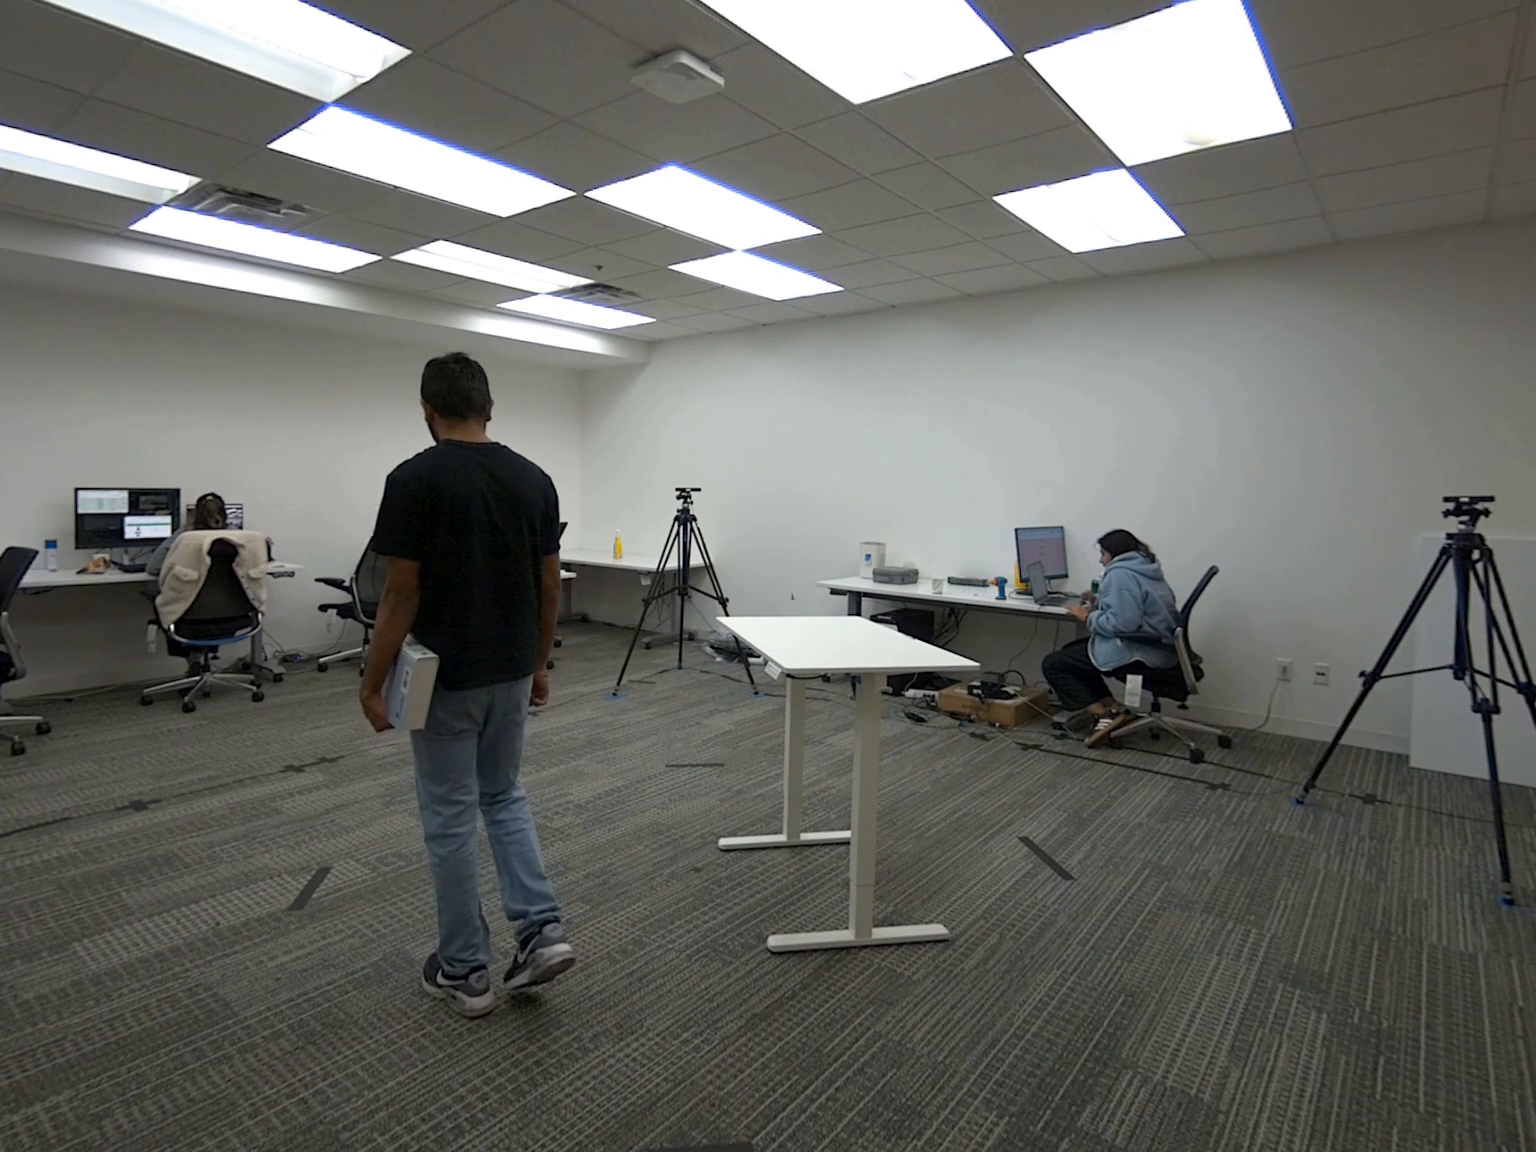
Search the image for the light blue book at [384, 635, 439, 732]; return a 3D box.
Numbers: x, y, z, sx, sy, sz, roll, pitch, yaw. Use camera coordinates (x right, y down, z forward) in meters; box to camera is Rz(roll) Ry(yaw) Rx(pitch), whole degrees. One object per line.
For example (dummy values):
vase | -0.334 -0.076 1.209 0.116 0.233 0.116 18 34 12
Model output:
light blue book | -0.929 0.254 2.144 0.057 0.191 0.271 8 7 -43
